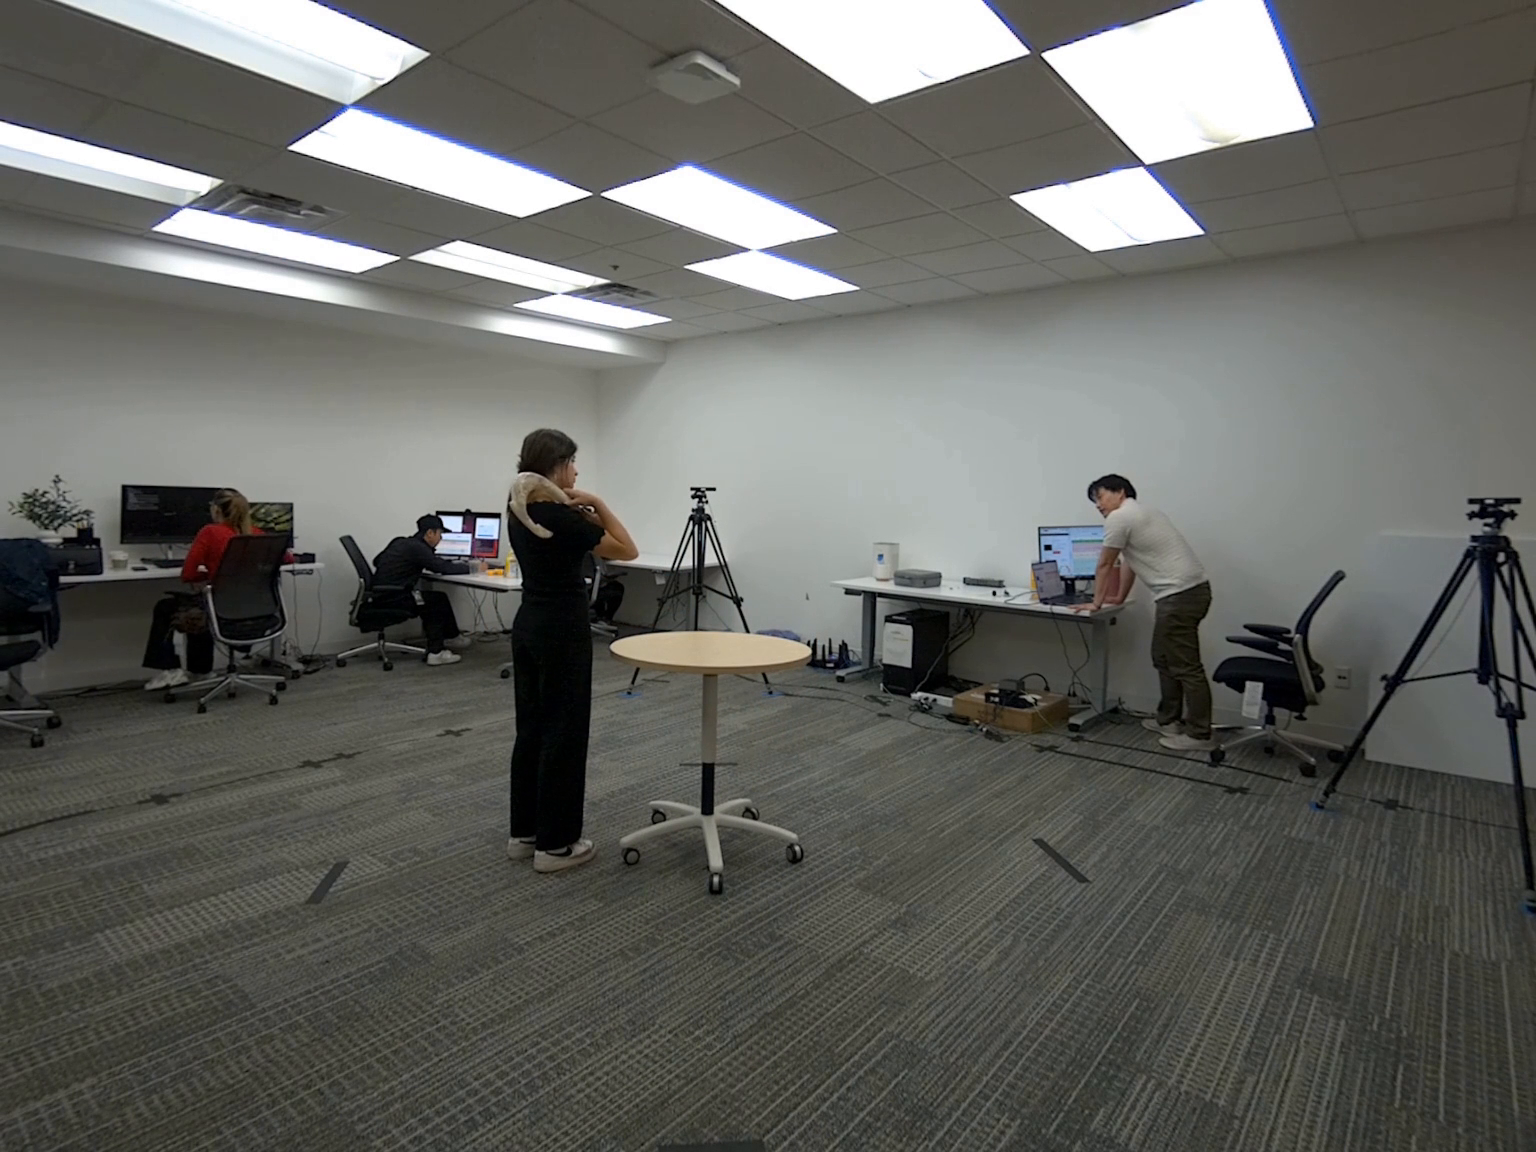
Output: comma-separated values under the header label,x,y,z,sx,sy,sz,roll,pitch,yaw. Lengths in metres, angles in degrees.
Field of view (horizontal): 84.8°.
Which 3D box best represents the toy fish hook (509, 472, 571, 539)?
label,x,y,z,sx,sy,sz,roll,pitch,yaw
toy fish hook,-0.742,-0.209,3.056,0.049,0.229,0.486,-14,-28,35
